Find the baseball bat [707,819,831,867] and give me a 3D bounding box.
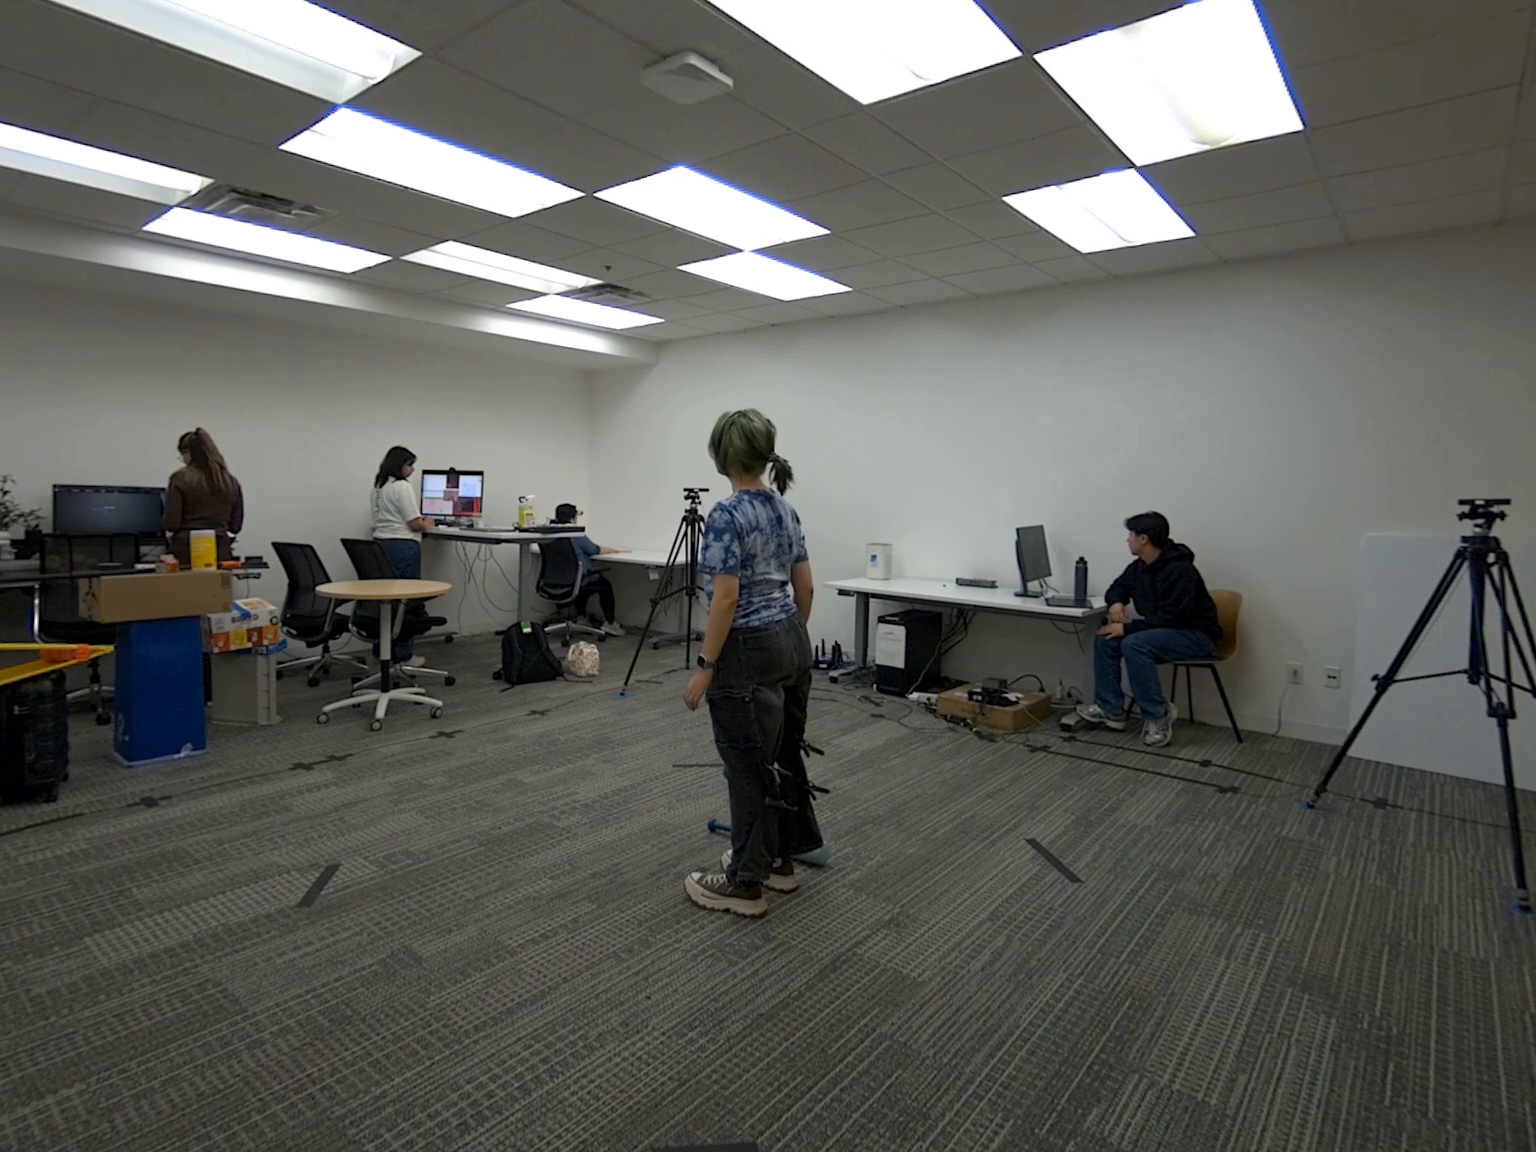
[{"bbox_3d":[-0.018,1.017,3.304,0.560,0.089,0.086,1,3,36],"label":"baseball bat"}]
